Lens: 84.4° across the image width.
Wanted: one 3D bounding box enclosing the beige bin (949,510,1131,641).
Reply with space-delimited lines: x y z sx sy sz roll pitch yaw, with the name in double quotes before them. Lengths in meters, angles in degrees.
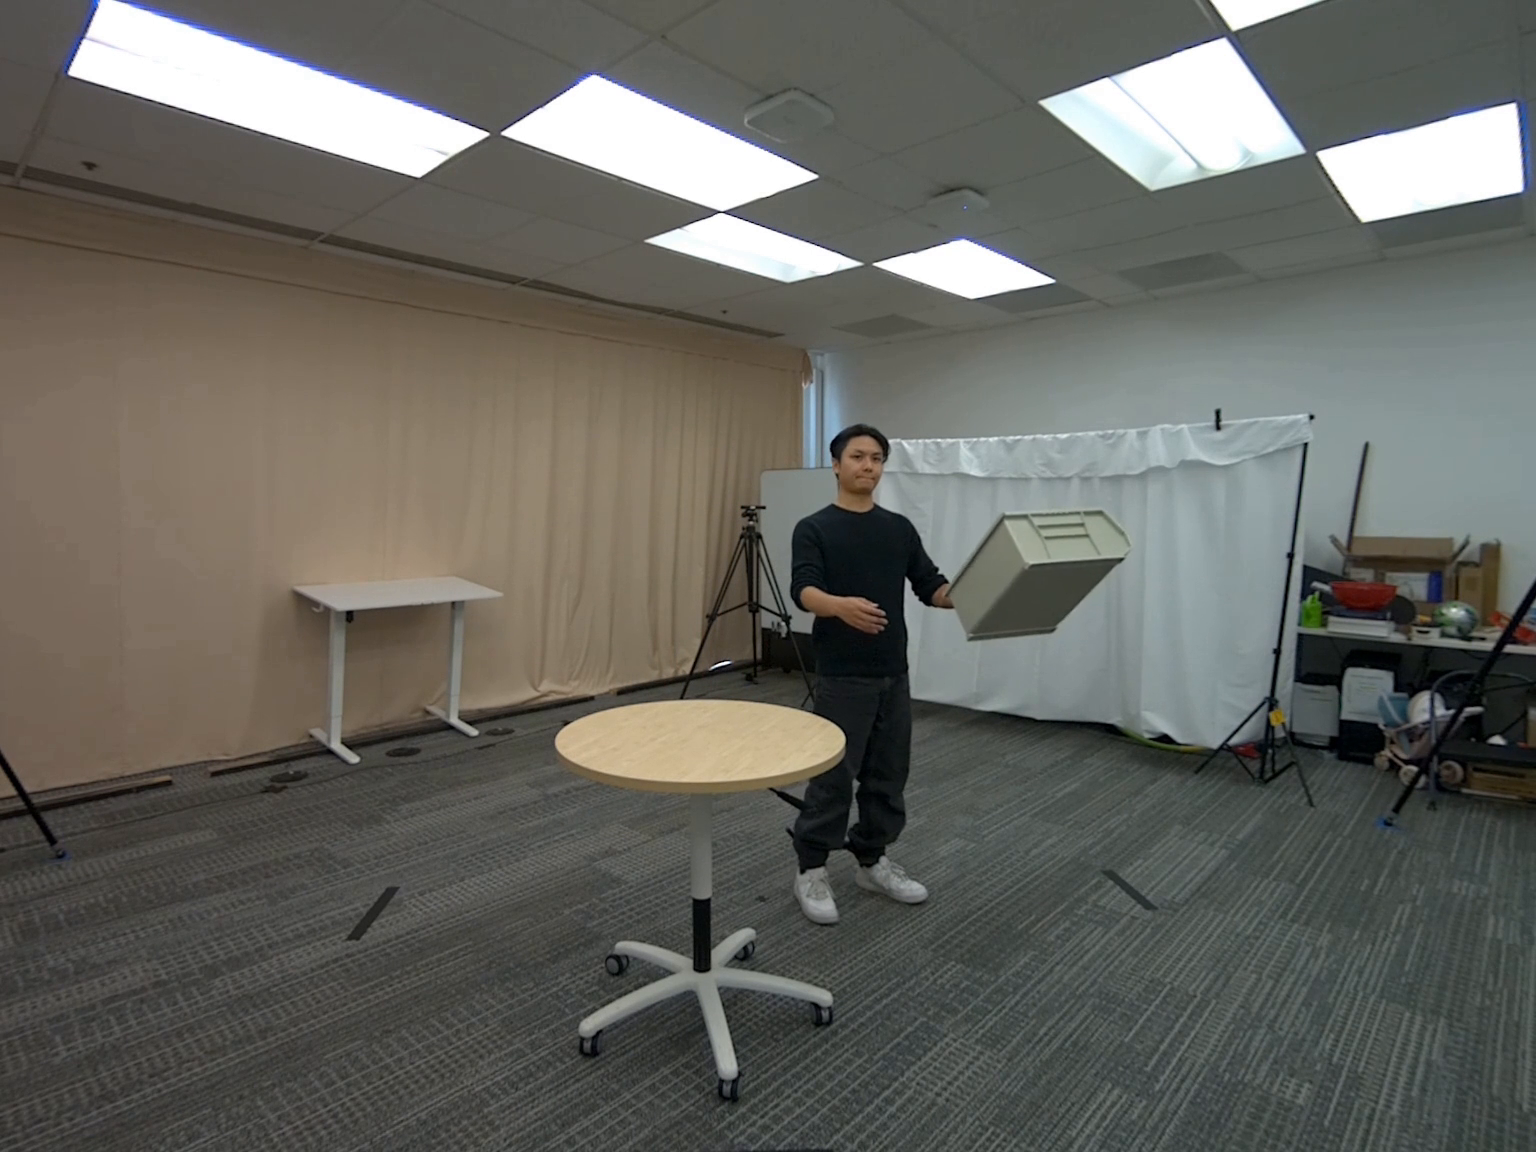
"beige bin" 0.814 0.005 2.524 0.371 0.193 0.419 -4 -34 -18
